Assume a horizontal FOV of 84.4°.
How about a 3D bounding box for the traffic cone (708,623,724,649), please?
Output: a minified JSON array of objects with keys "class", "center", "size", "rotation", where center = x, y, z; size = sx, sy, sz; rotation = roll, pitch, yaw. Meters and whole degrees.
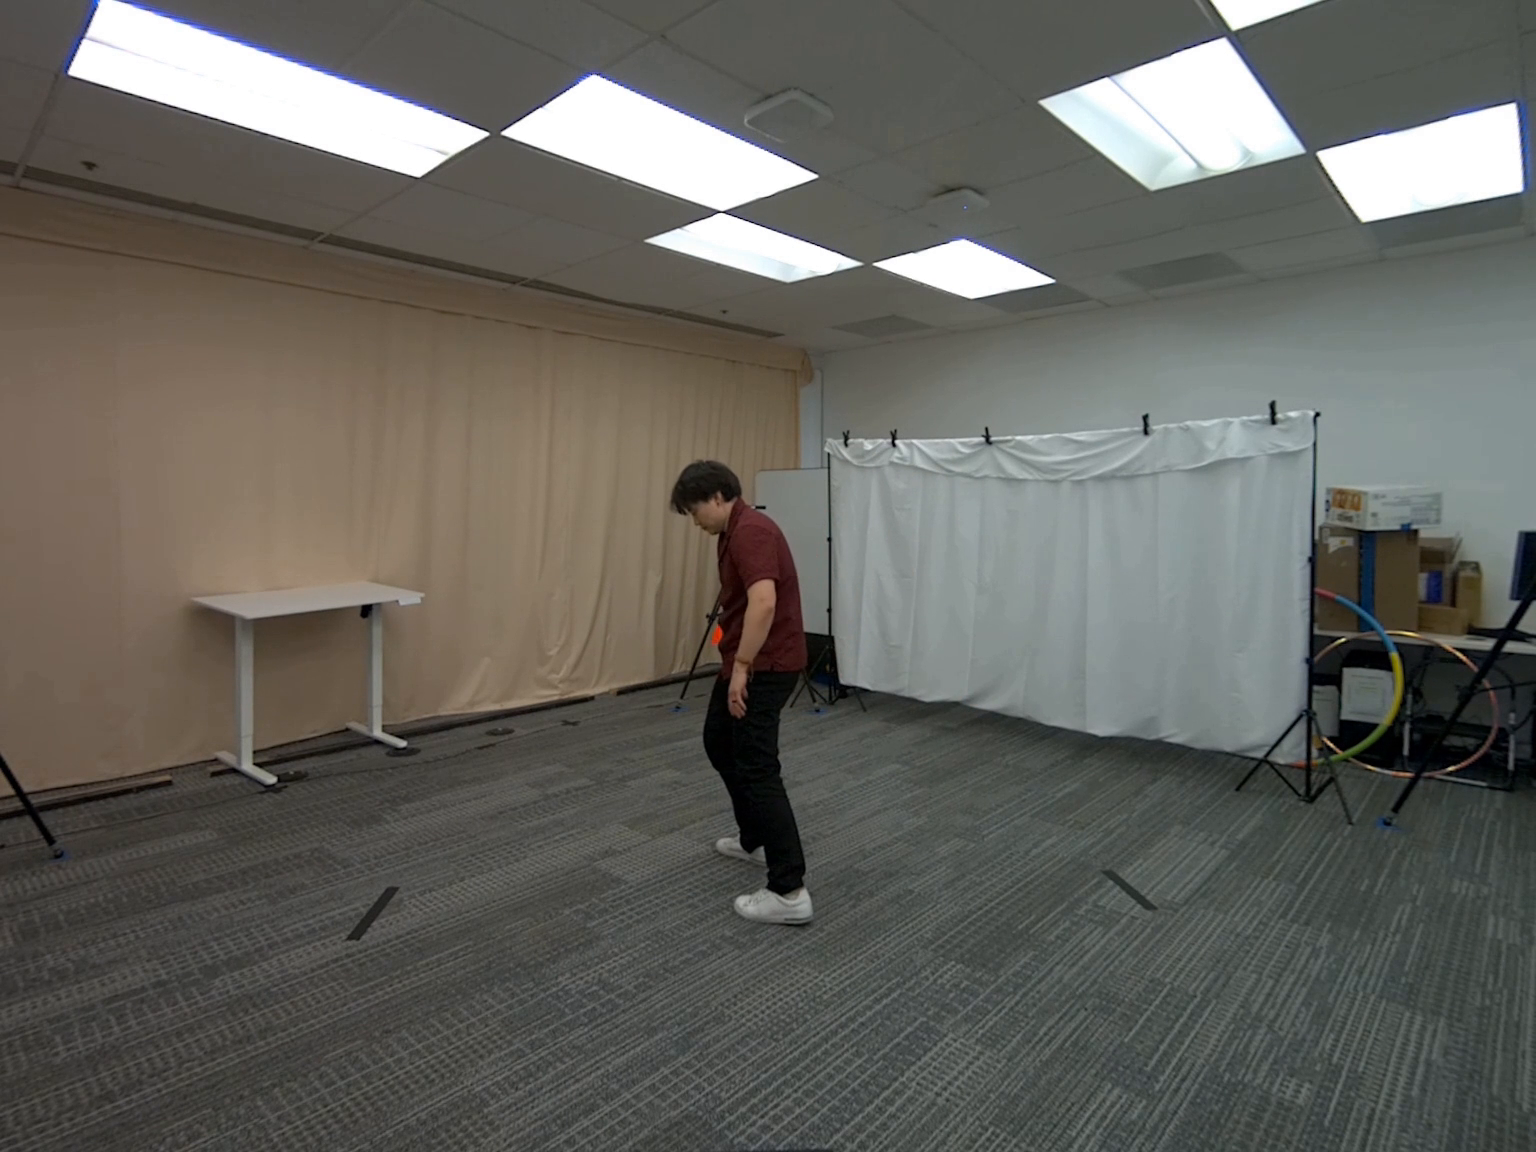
[{"class":"traffic cone","center":[-0.023,0.301,3.644],"size":[0.396,0.202,0.199],"rotation":[32,24,28]}]
